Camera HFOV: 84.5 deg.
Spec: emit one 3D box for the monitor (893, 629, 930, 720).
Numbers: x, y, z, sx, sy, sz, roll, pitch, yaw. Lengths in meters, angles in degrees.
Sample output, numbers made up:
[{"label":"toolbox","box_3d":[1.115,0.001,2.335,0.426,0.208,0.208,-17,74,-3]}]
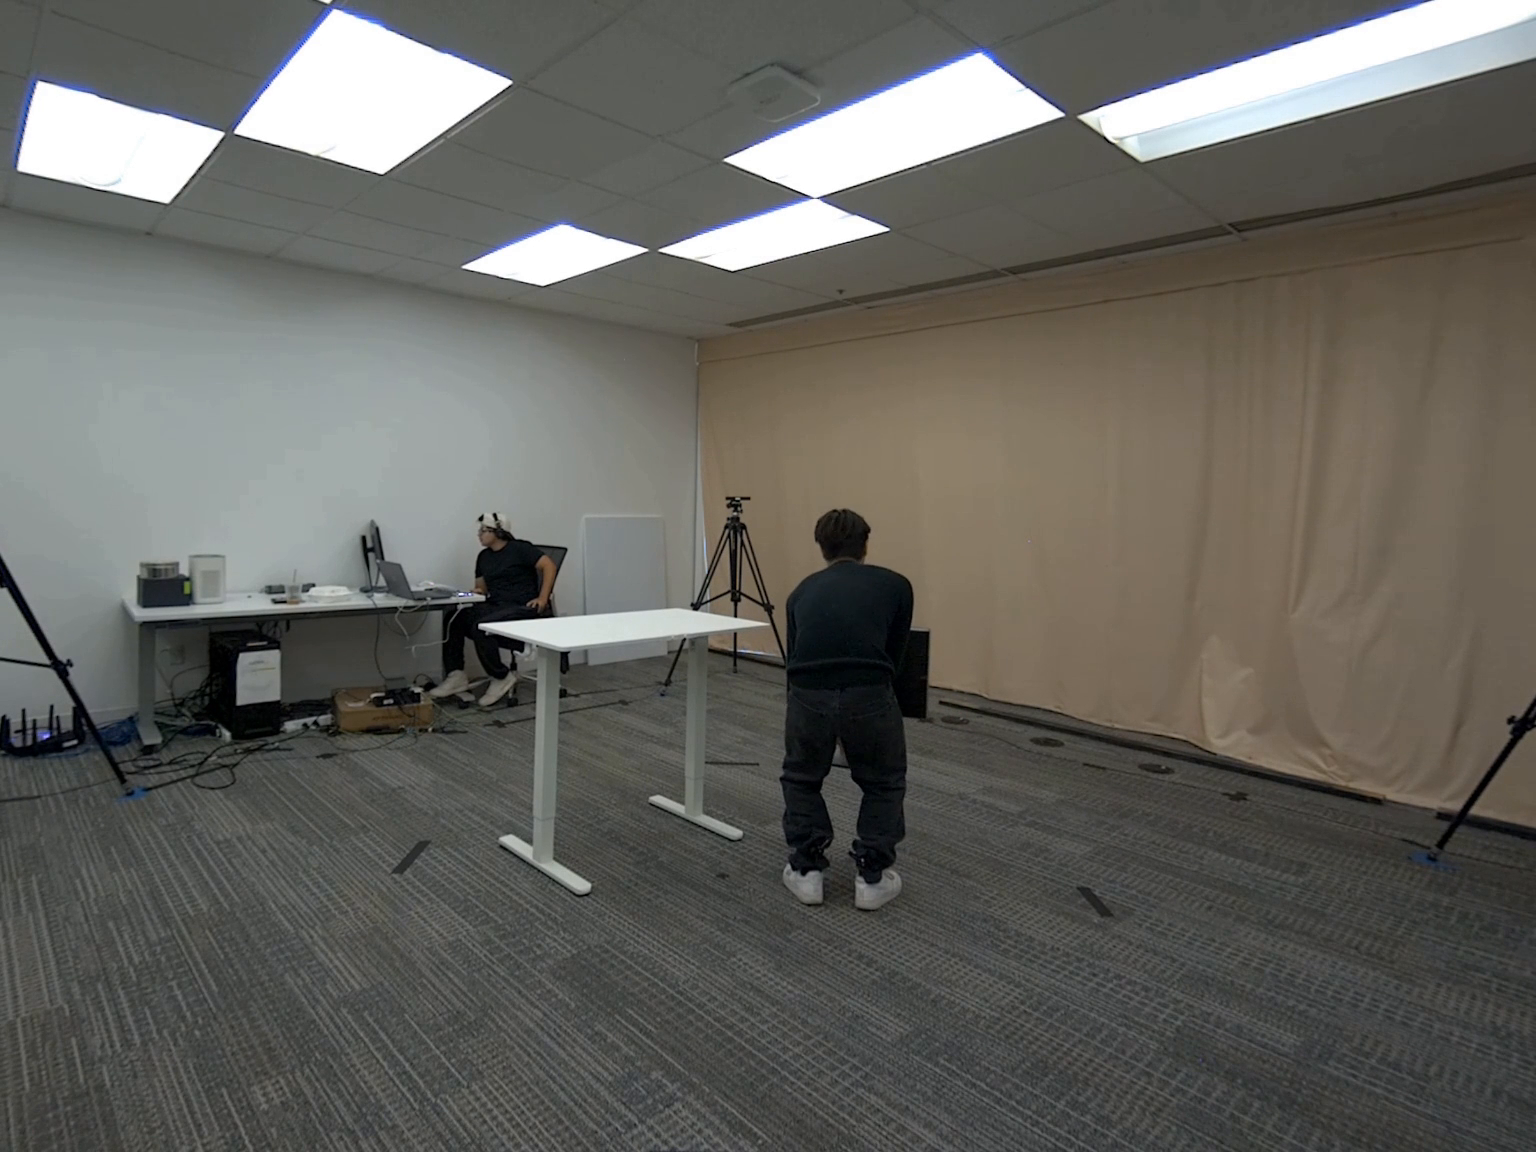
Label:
[{"label":"monitor","box_3d":[0.329,0.466,3.253,0.547,0.521,0.185,6,3,16]}]
